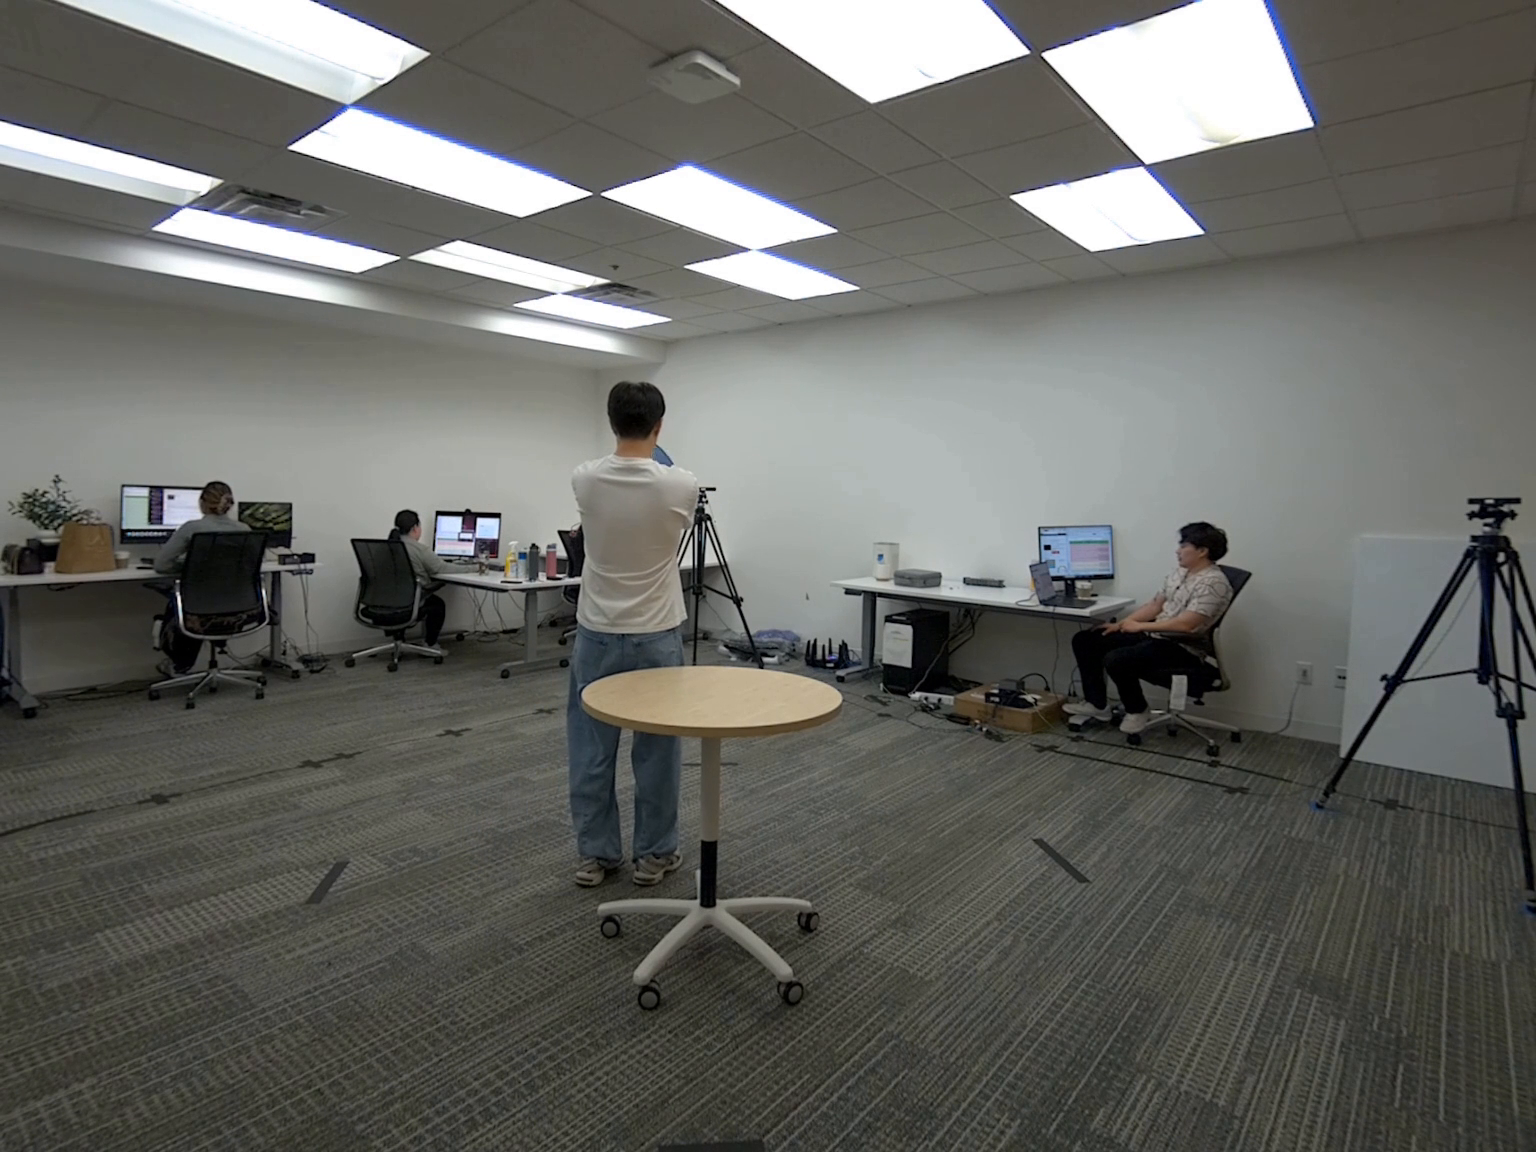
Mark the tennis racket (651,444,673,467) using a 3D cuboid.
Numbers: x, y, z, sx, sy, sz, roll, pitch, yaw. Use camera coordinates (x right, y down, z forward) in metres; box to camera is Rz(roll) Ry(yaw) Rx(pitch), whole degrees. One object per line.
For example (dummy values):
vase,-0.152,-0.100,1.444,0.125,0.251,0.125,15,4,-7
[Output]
tennis racket,-0.456,-0.461,3.691,0.032,0.206,0.446,-35,30,14
